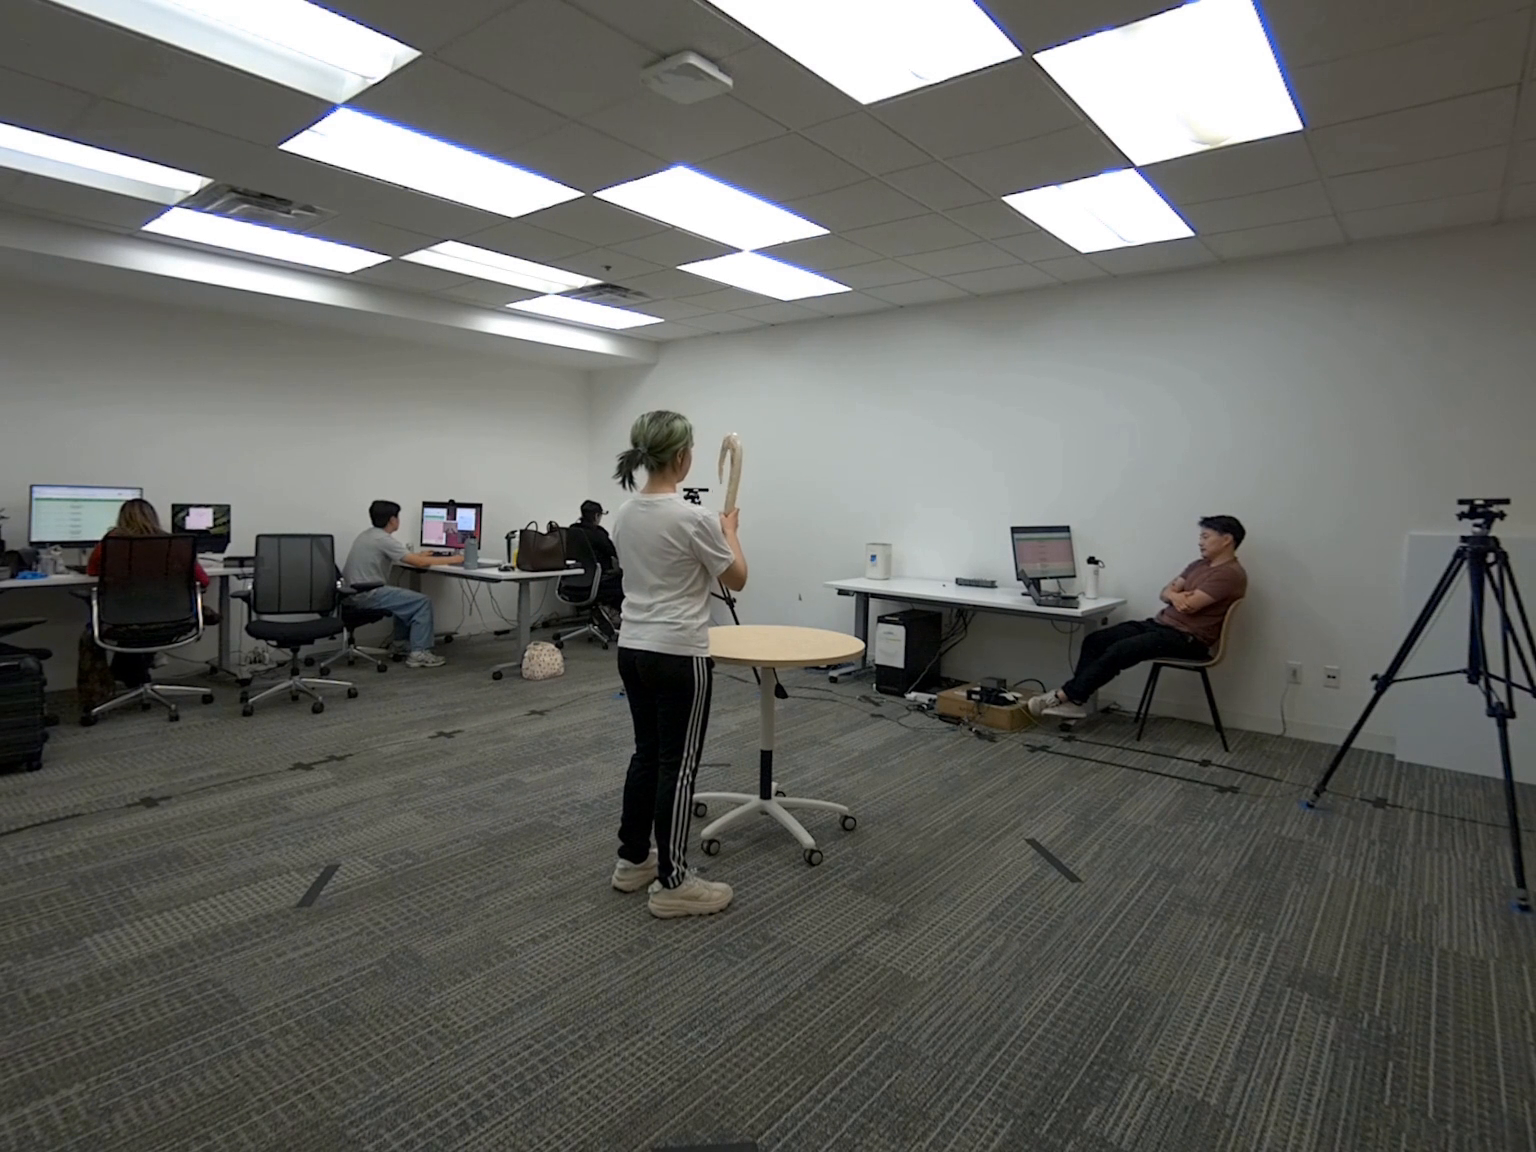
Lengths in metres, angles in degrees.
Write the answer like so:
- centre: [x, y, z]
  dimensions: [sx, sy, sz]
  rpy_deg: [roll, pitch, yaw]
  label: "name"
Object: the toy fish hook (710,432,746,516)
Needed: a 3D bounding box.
- centre: [-0.170, -0.284, 3.172]
  dimensions: [0.047, 0.505, 0.228]
  rpy_deg: [7, 4, -14]
  label: "toy fish hook"
